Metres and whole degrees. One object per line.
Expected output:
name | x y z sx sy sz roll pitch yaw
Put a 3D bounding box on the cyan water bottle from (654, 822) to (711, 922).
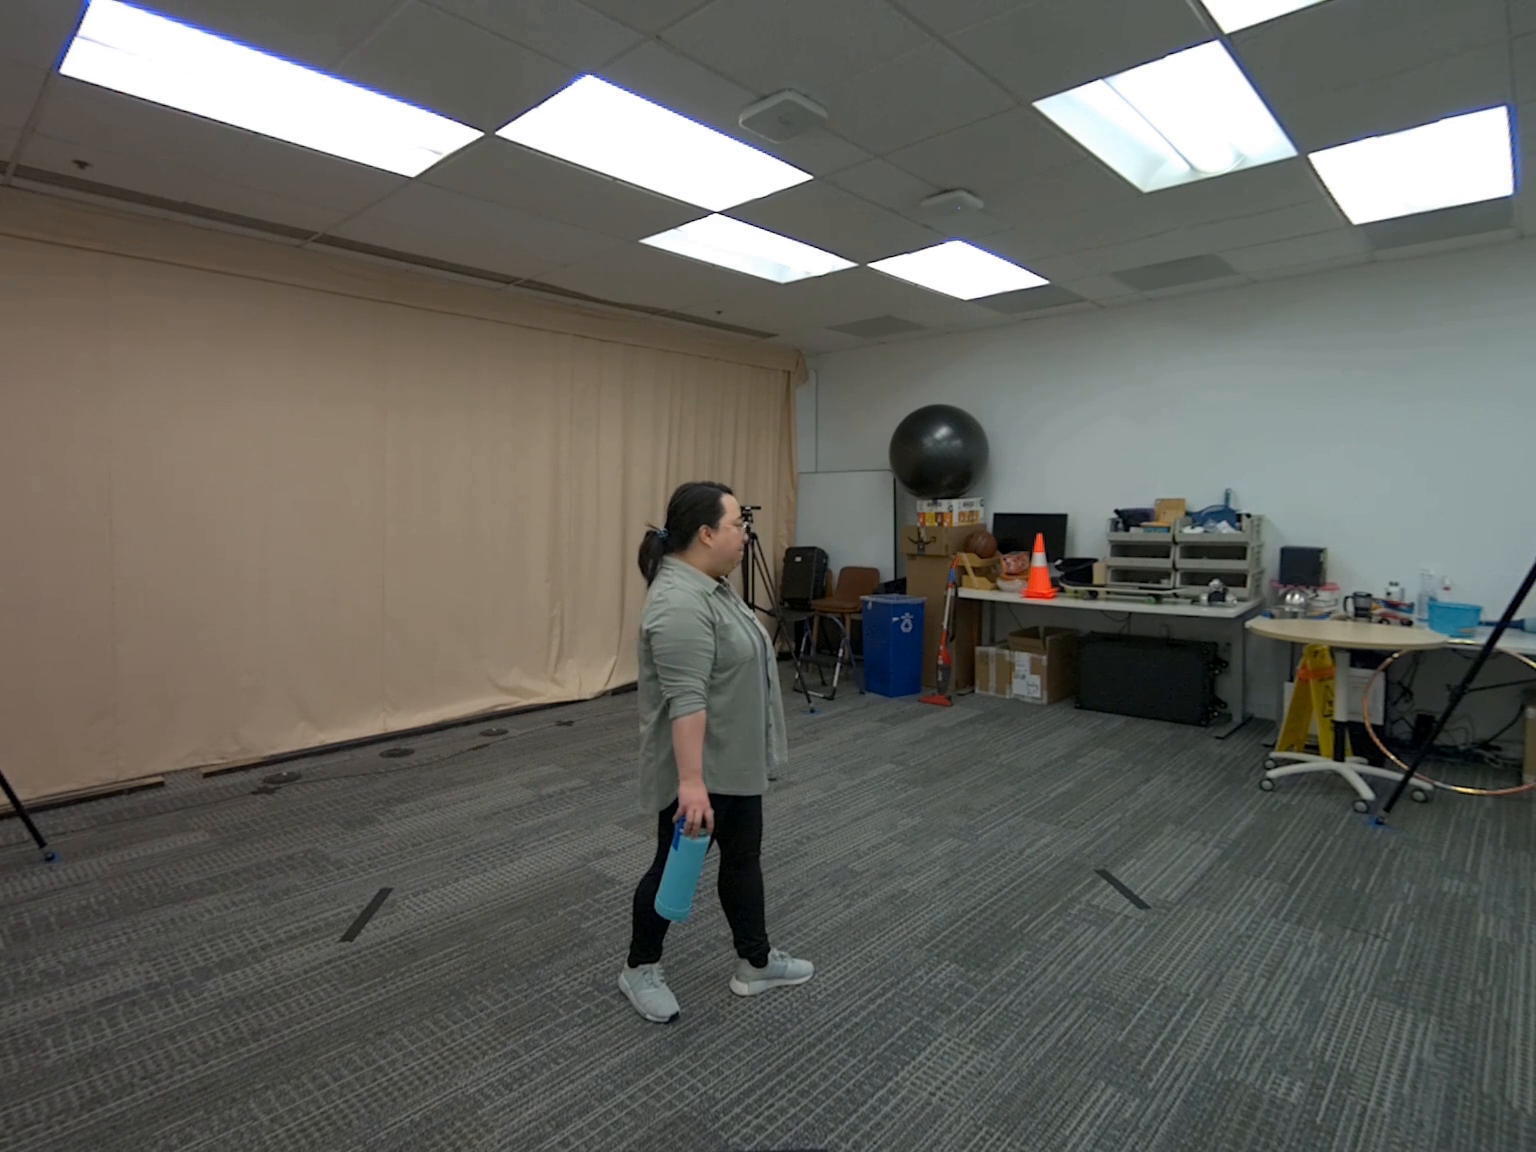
cyan water bottle | -0.192 0.703 2.086 0.092 0.282 0.093 12 8 -4
